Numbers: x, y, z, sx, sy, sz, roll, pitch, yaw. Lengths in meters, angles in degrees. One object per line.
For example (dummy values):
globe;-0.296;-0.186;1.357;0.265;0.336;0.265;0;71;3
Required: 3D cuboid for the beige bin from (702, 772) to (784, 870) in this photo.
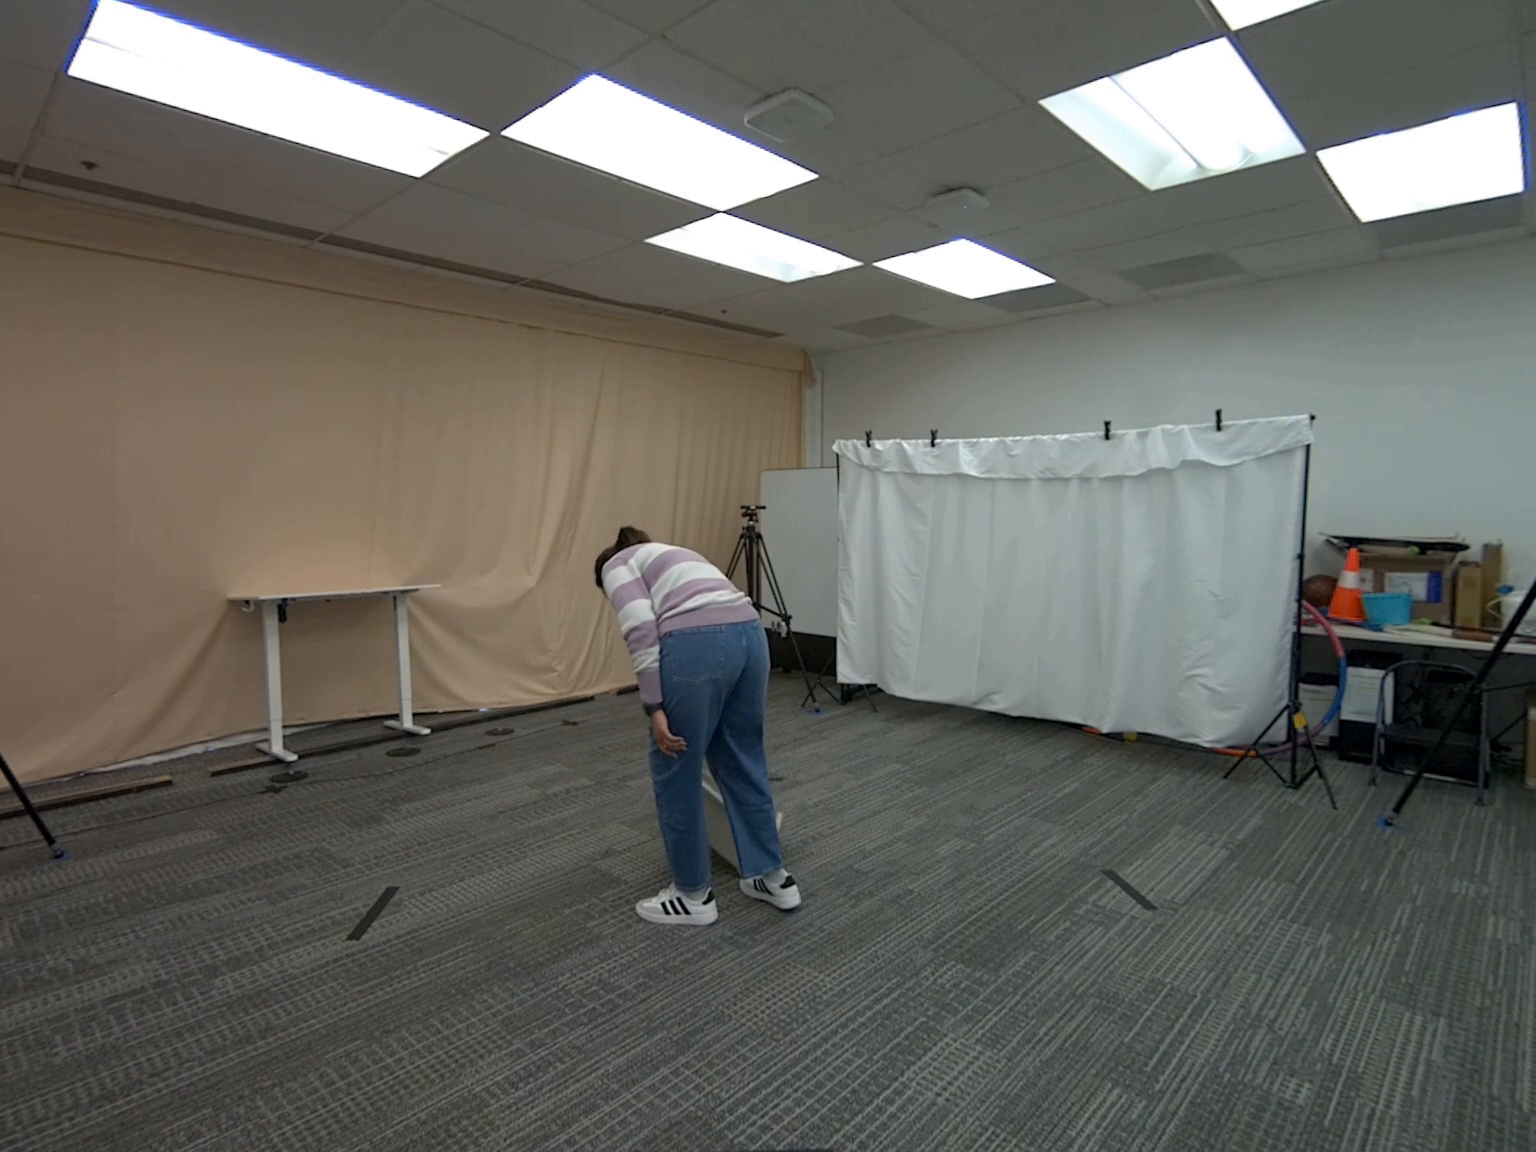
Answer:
beige bin;-0.169;0.921;3.319;0.425;0.189;0.374;38;9;4
